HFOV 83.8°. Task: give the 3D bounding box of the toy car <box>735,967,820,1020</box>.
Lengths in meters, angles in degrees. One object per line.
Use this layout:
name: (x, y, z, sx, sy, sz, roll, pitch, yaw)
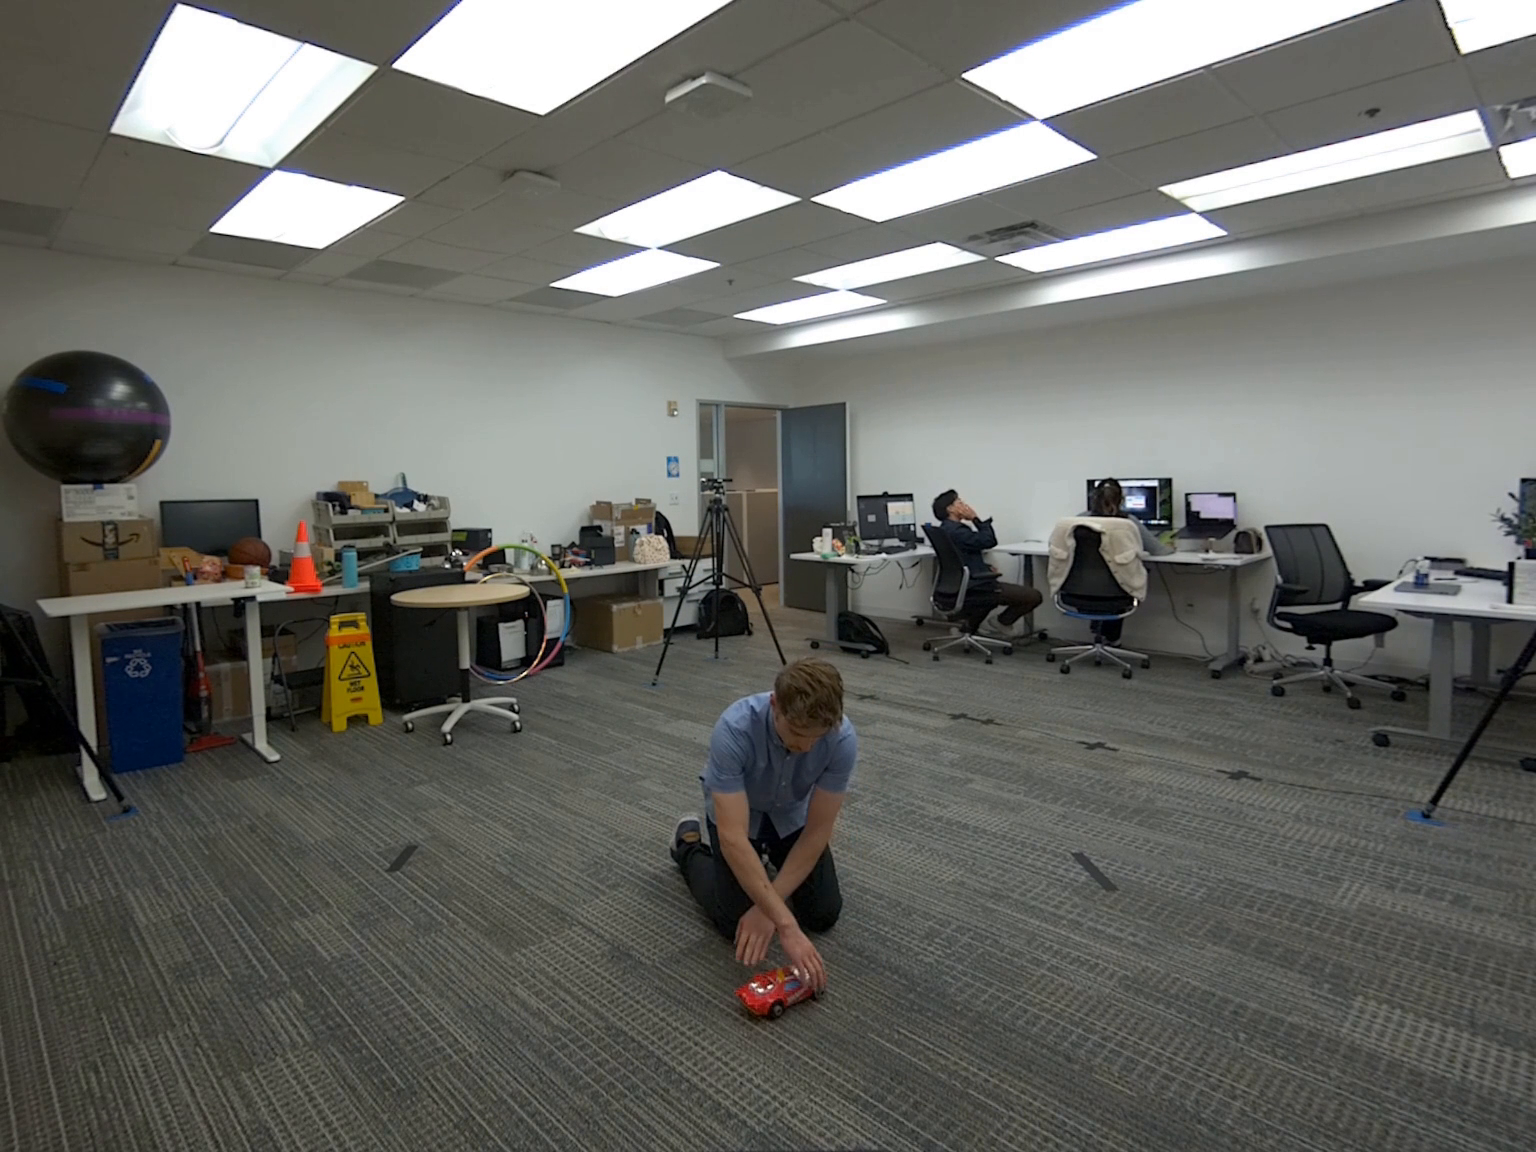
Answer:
toy car: (0.029, 1.113, 2.287, 0.247, 0.083, 0.134, 8, 0, -33)
